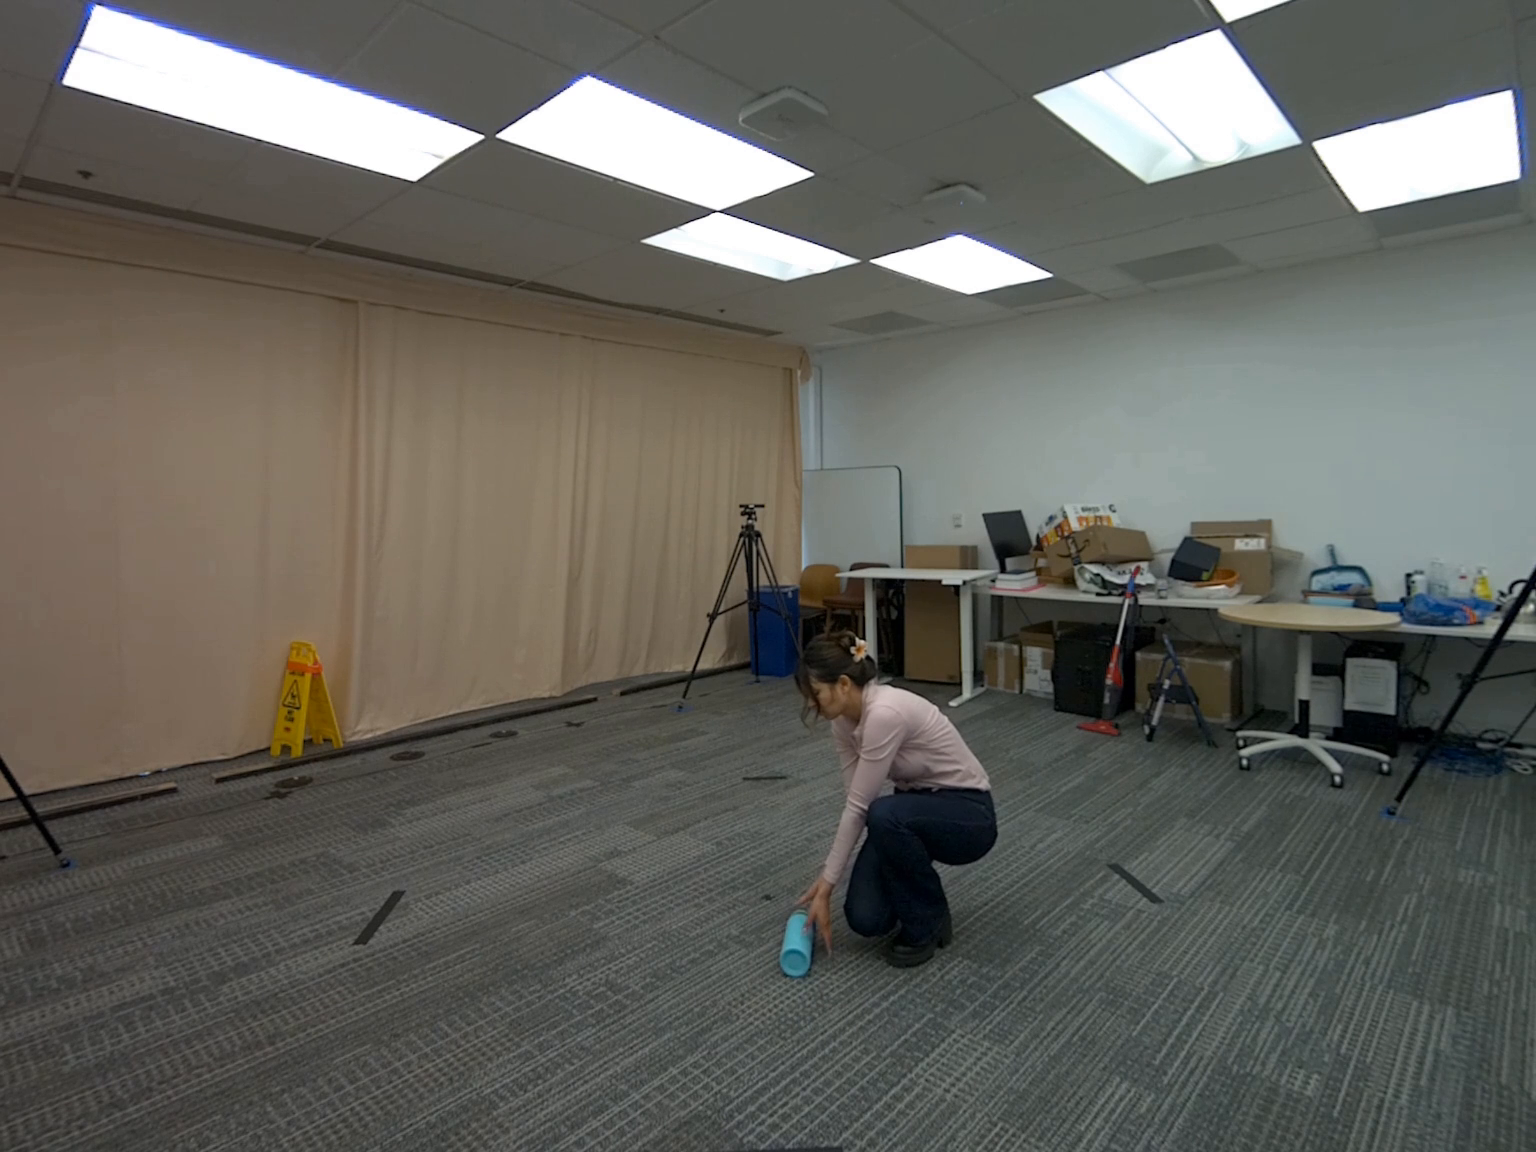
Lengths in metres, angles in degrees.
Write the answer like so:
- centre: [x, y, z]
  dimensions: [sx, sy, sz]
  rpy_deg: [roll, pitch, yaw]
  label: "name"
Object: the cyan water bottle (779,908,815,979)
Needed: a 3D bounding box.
- centre: [0.103, 1.134, 2.606]
  dimensions: [0.093, 0.092, 0.281]
  rpy_deg: [0, 3, 8]
  label: "cyan water bottle"
